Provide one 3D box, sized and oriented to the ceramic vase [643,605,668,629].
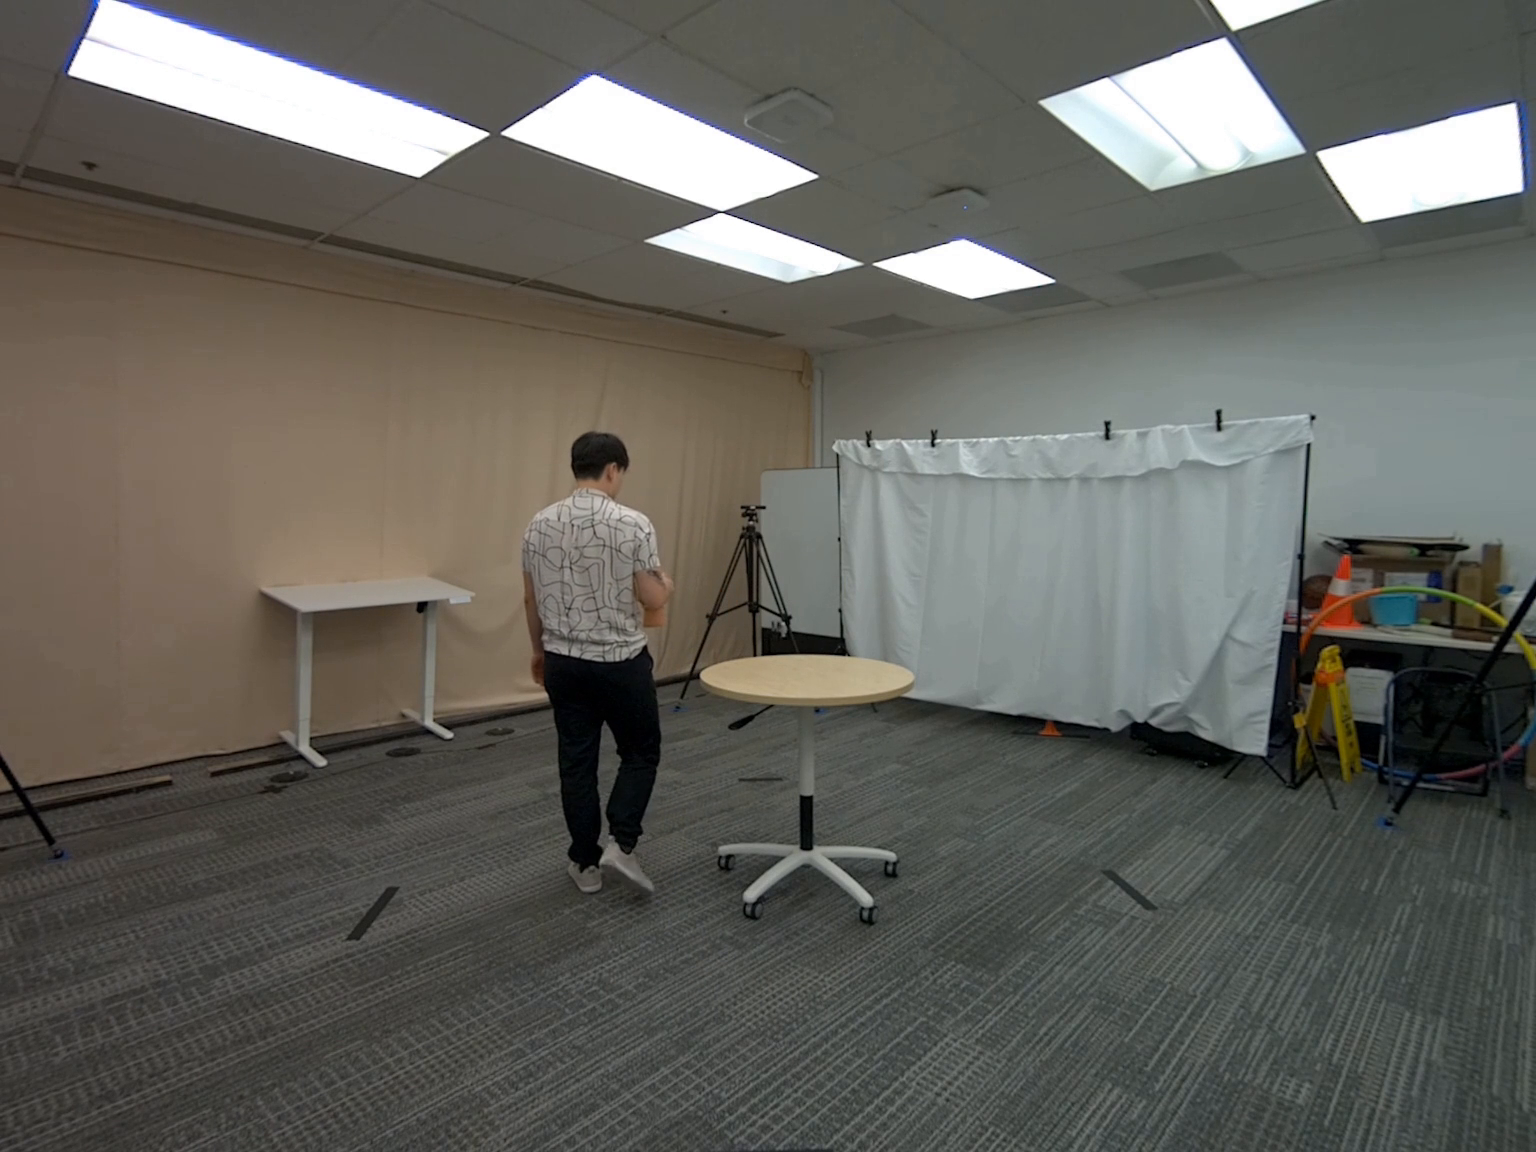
[{"bbox_3d":[-0.454,0.090,3.359,0.136,0.220,0.157,-6,-1,6],"label":"ceramic vase"}]
